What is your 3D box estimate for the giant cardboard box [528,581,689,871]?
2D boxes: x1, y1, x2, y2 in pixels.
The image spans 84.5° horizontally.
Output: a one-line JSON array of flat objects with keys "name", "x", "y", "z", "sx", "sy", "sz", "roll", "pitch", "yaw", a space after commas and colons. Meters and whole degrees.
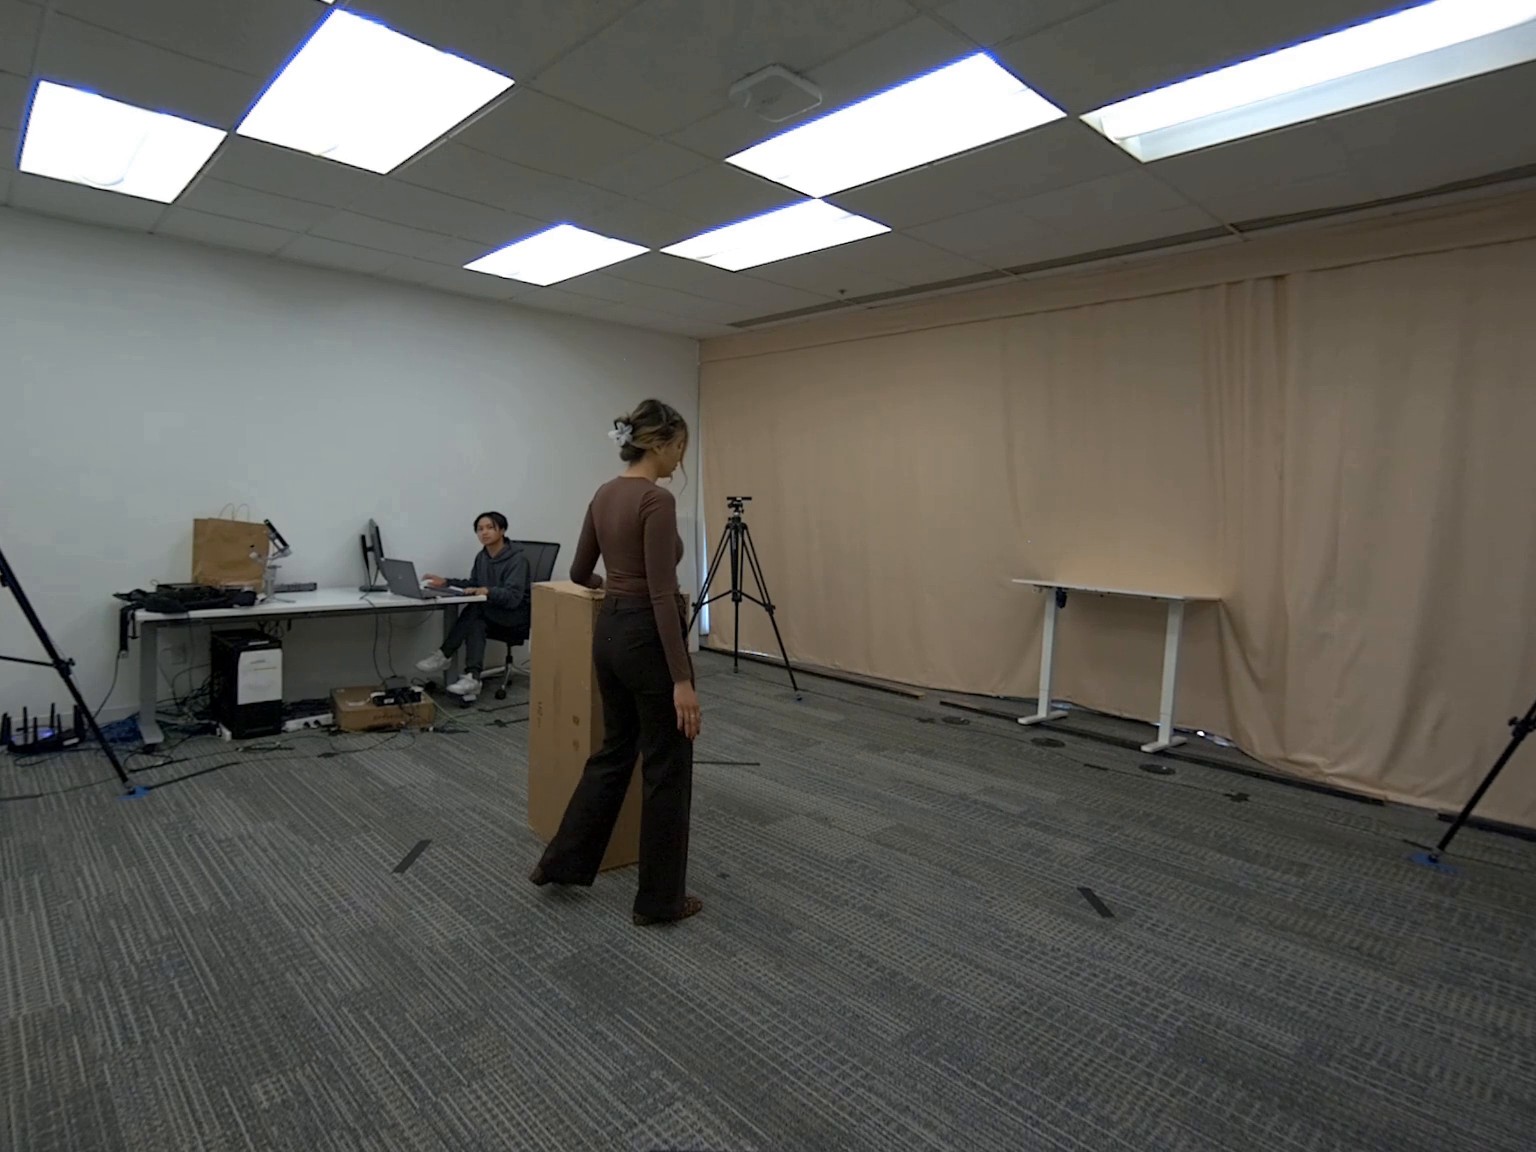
[{"name": "giant cardboard box", "x": -0.664, "y": 0.557, "z": 3.409, "sx": 0.437, "sy": 1.025, "sz": 0.598, "roll": 0, "pitch": 4, "yaw": -36}]
